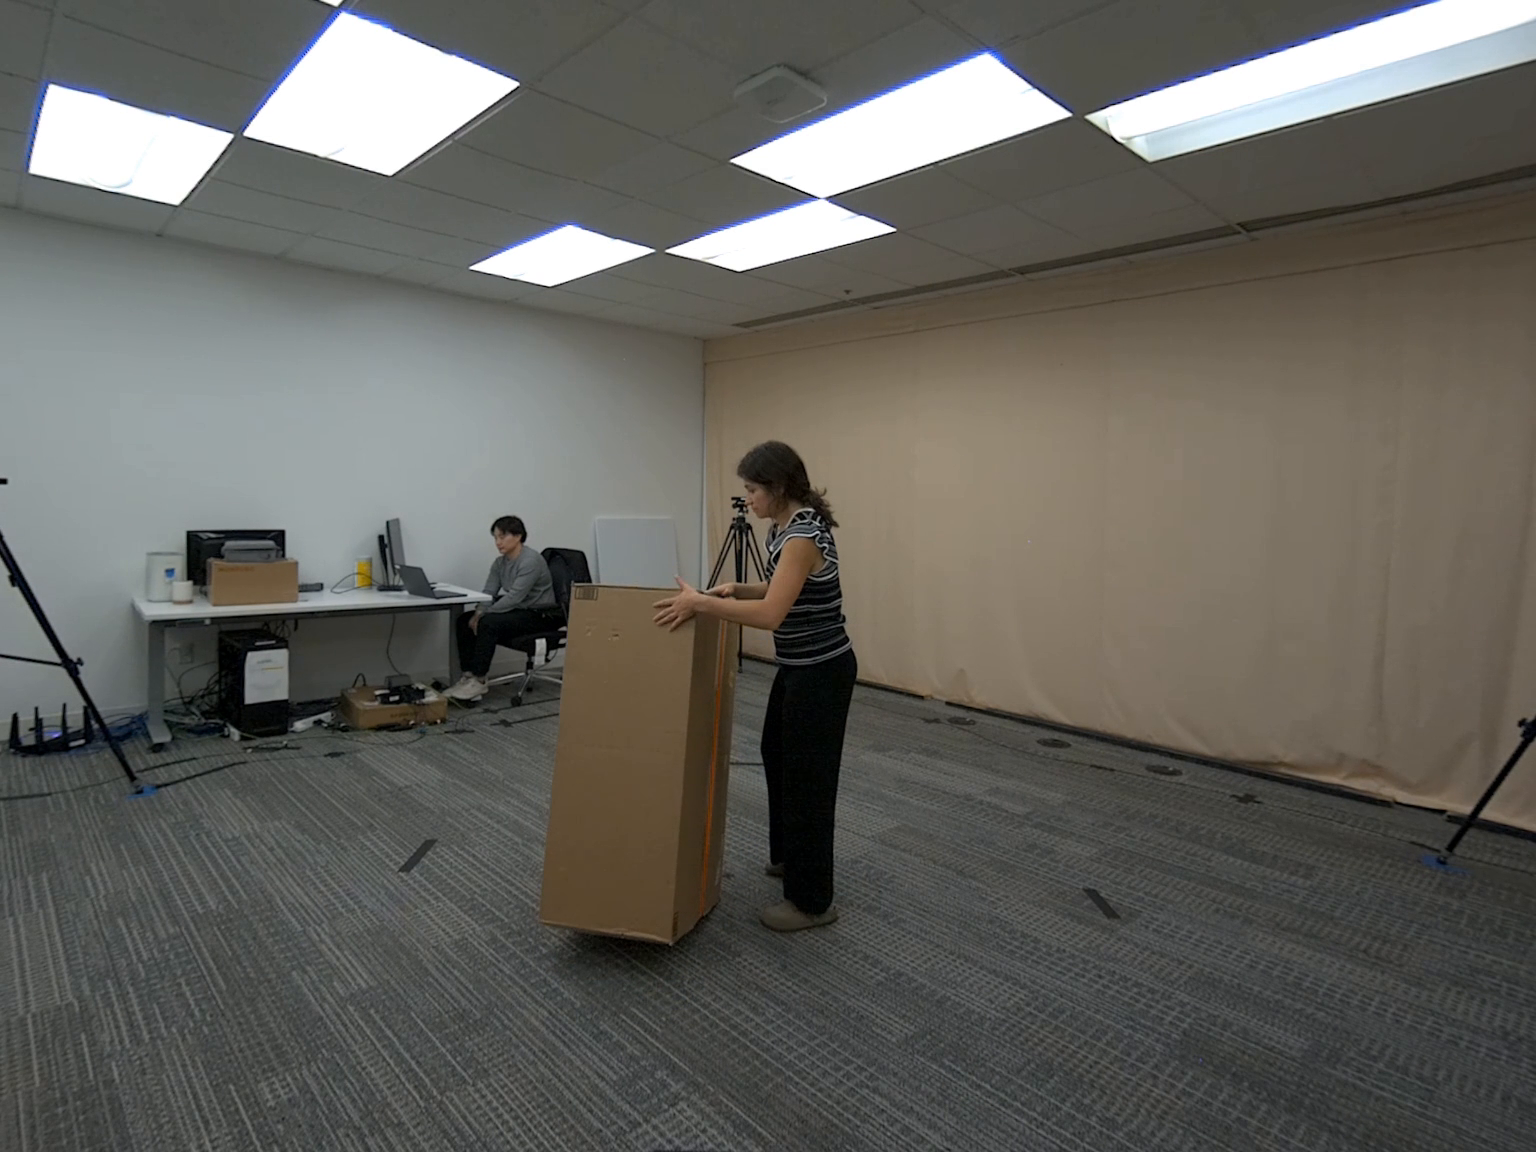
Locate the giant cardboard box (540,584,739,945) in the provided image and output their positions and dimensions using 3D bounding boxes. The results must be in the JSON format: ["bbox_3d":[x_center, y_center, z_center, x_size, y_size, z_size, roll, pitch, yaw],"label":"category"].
[{"bbox_3d":[-0.399,0.580,2.789,0.431,1.032,0.568,1,-9,12],"label":"giant cardboard box"}]
